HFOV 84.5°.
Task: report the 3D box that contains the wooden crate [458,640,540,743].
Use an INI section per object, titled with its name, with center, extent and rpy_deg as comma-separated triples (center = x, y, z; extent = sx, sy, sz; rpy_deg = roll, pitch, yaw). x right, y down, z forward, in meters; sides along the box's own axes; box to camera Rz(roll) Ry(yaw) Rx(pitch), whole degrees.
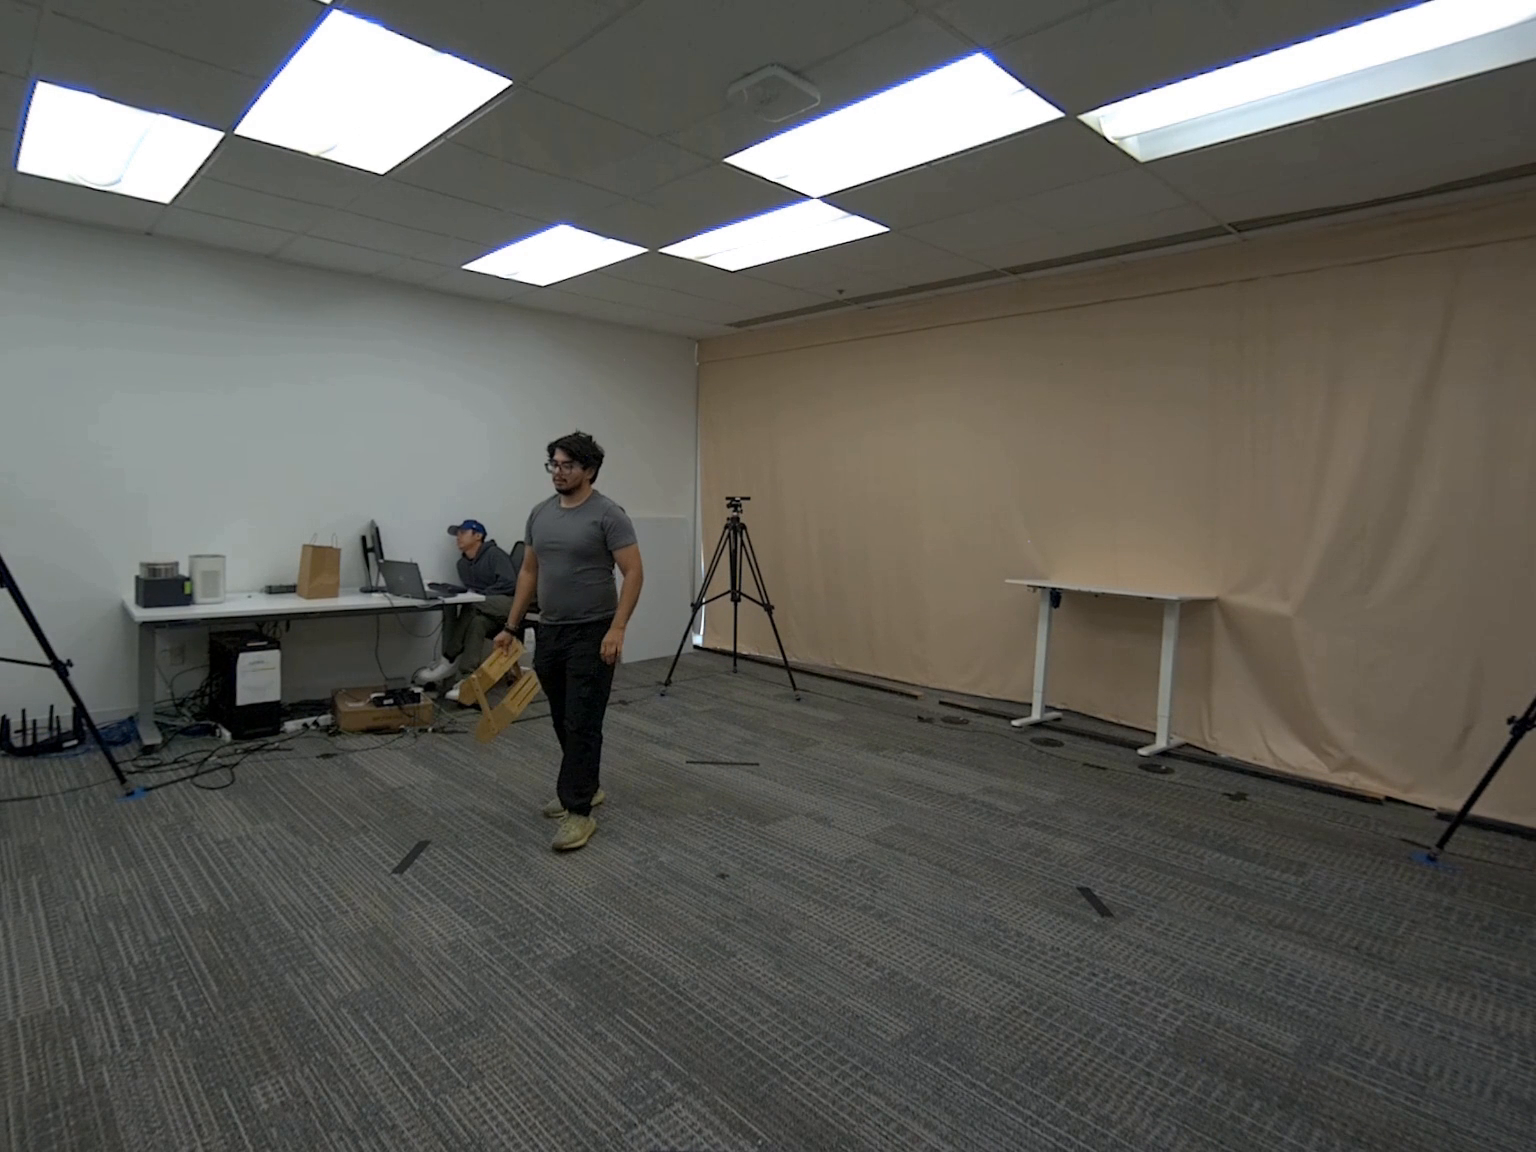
[wooden crate]
center = -1.187, 0.486, 3.660
extent = 0.303, 0.271, 0.326
rpy_deg = -39, 10, 22
